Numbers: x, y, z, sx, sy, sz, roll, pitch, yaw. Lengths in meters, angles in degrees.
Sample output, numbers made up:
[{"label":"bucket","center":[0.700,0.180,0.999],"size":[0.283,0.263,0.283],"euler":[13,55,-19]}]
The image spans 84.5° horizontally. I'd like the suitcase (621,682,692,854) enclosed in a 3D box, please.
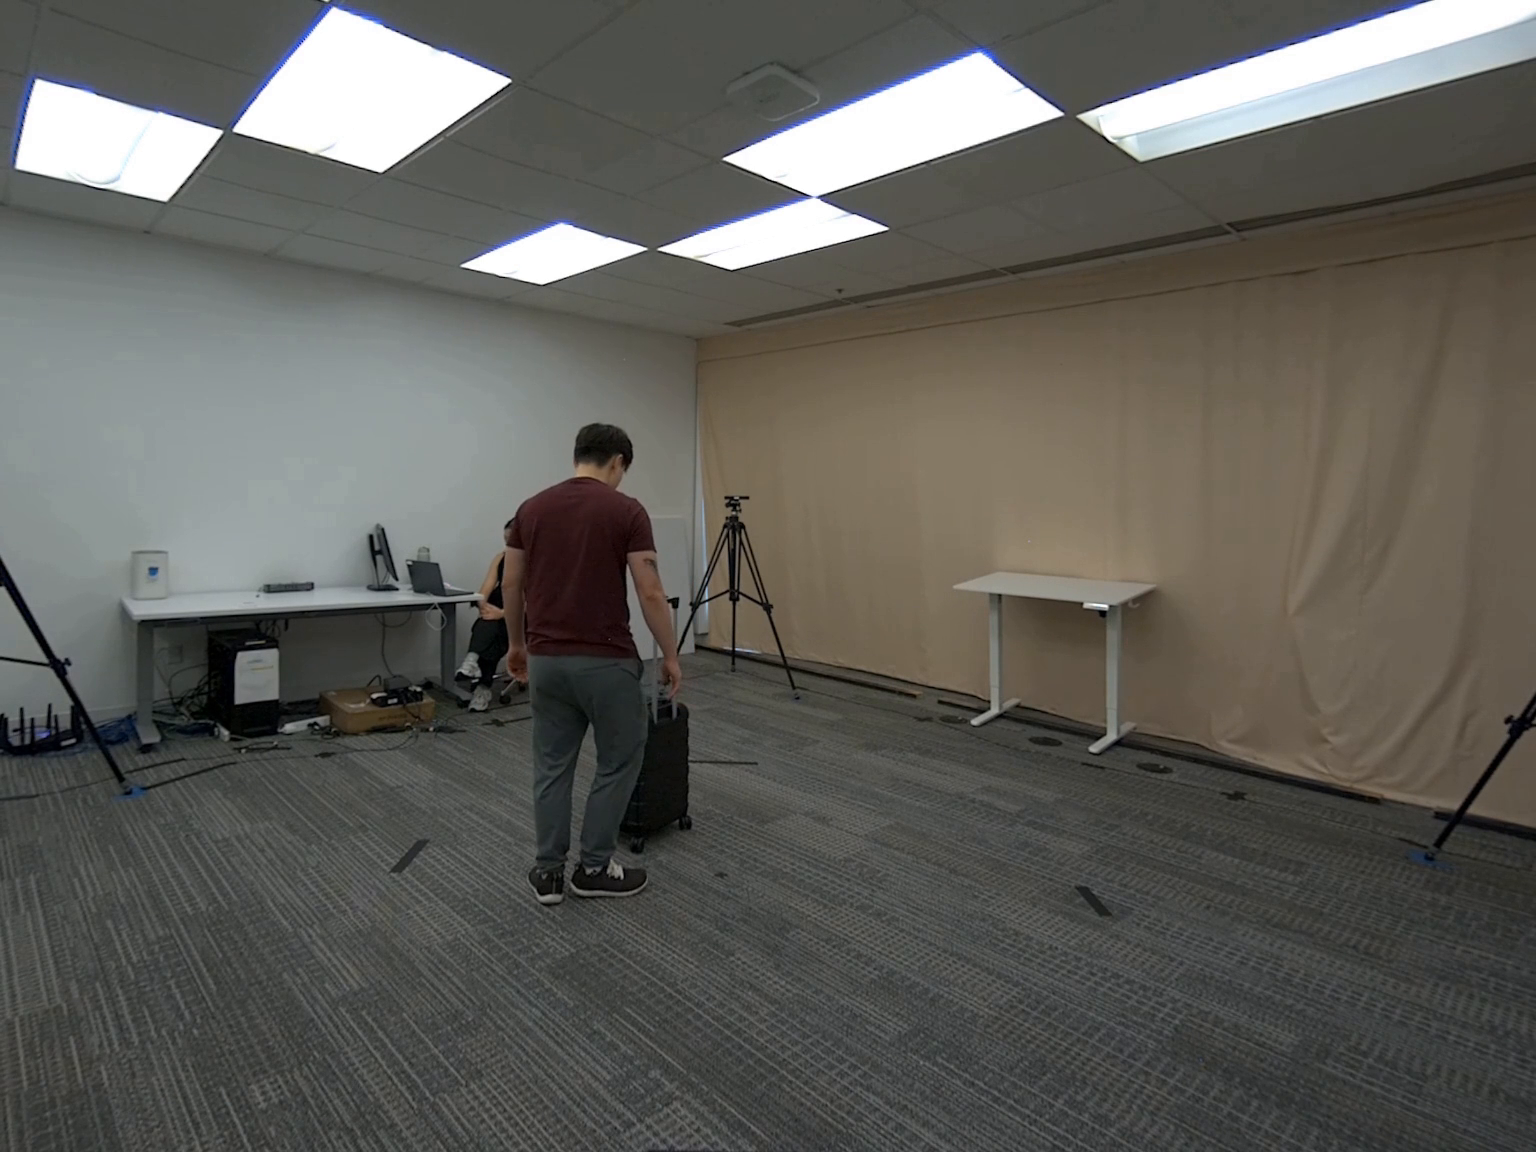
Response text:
[{"label":"suitcase","center":[-0.525,0.586,3.470],"size":[0.263,0.978,0.376],"euler":[0,1,32]}]
